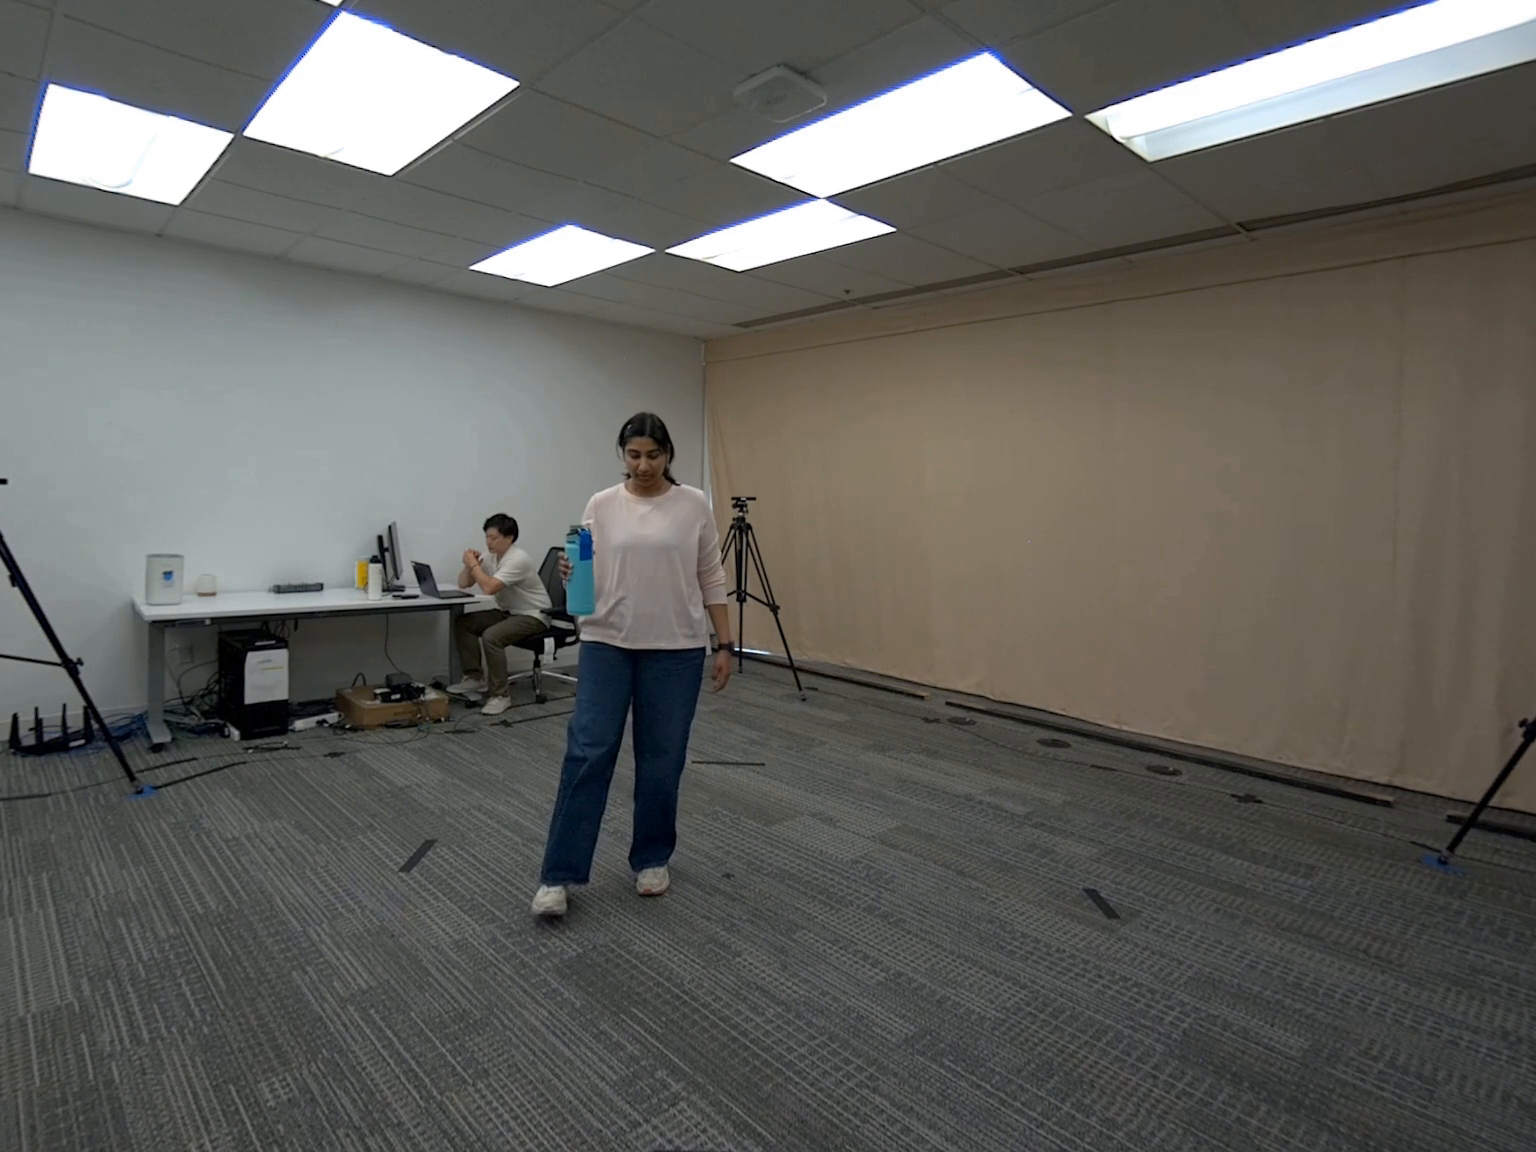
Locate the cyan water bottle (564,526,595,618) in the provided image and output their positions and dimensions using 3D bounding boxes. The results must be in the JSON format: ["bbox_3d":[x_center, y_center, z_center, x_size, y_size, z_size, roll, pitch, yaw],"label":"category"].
[{"bbox_3d":[-0.611,-0.021,2.657,0.092,0.282,0.093,3,7,-2],"label":"cyan water bottle"}]
